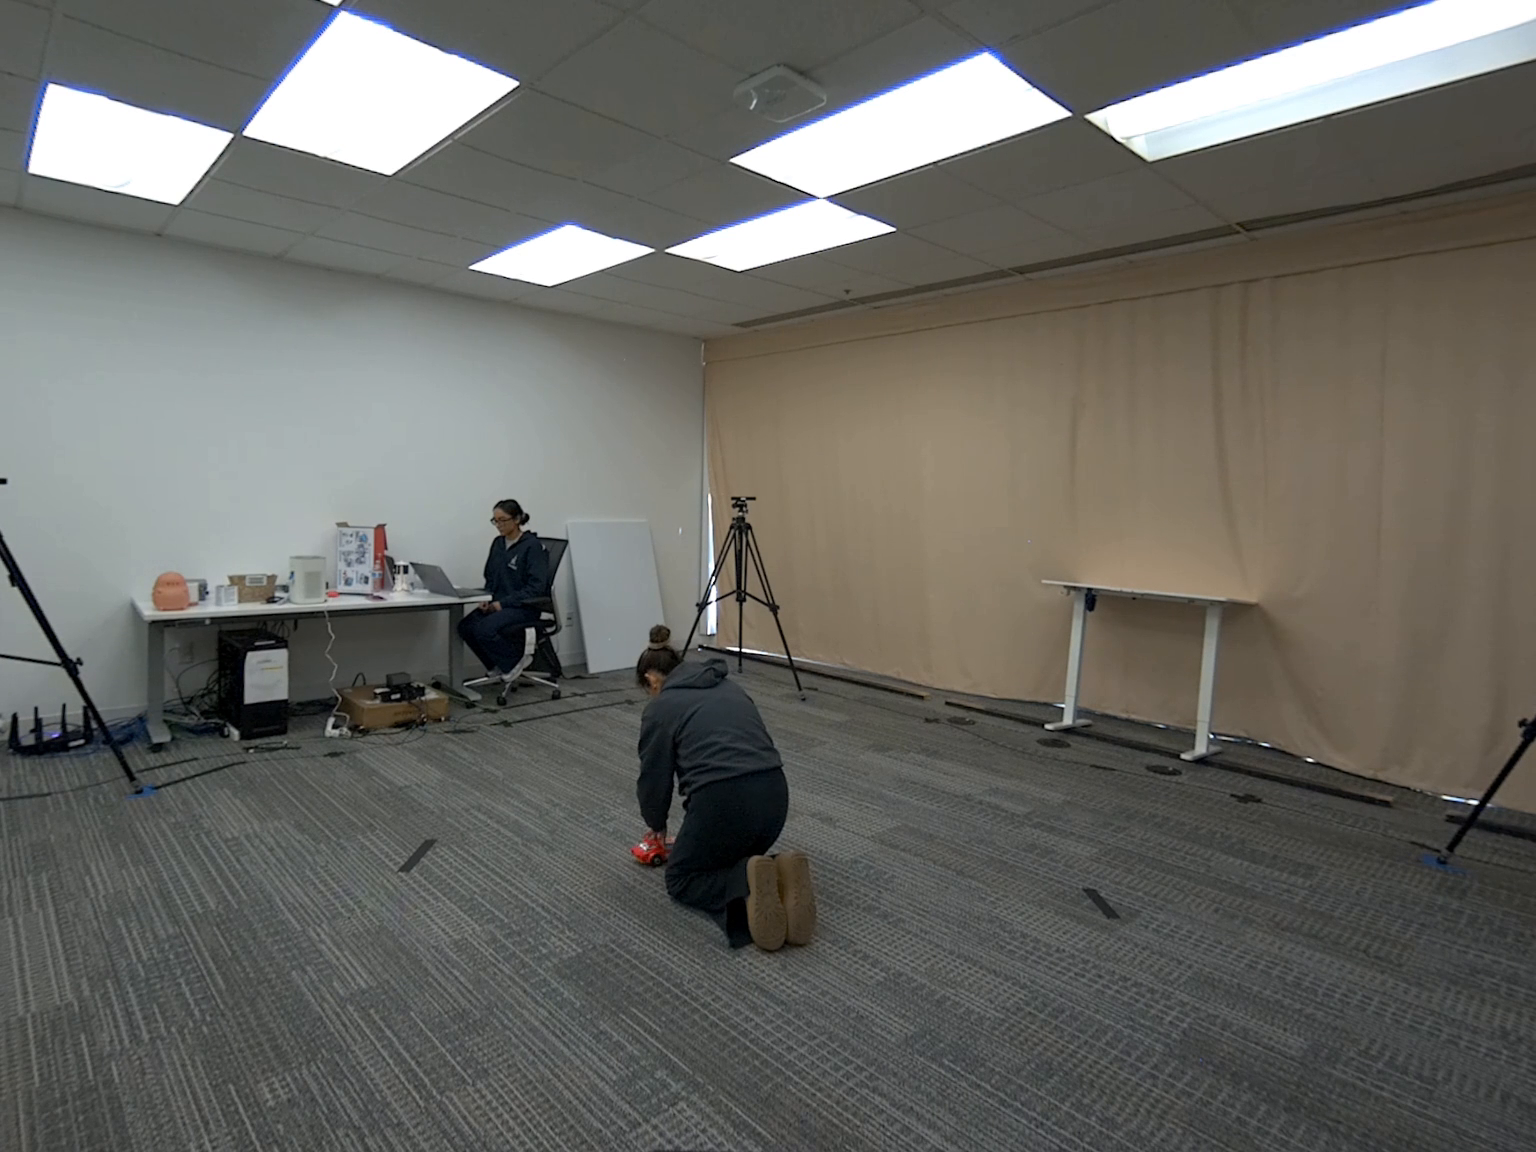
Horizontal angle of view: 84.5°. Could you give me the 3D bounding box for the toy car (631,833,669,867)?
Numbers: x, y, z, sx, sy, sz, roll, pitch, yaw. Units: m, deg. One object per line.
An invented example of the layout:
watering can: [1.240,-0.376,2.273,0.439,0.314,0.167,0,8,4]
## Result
toy car: [-0.417,1.054,3.243,0.248,0.083,0.133,11,-3,-34]
